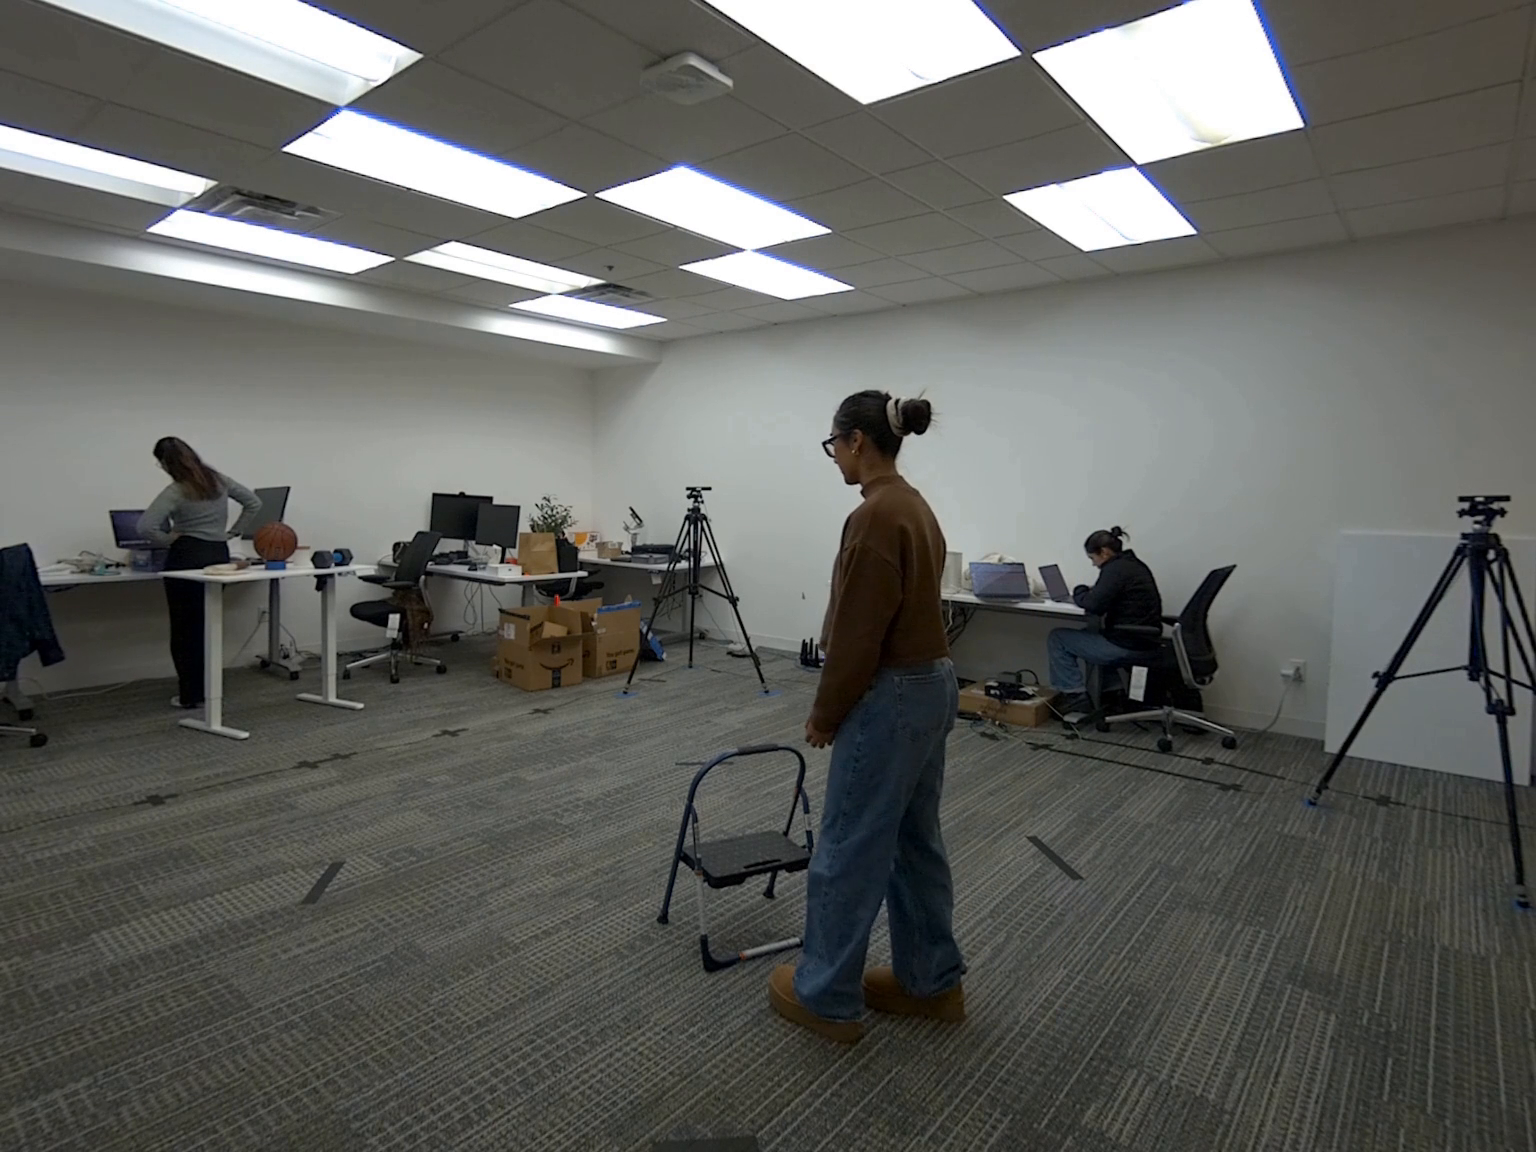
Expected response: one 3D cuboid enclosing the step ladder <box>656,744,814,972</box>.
[{"bbox_3d":[-0.091,0.807,2.663,0.419,0.604,0.360,-1,4,-30],"label":"step ladder"}]
